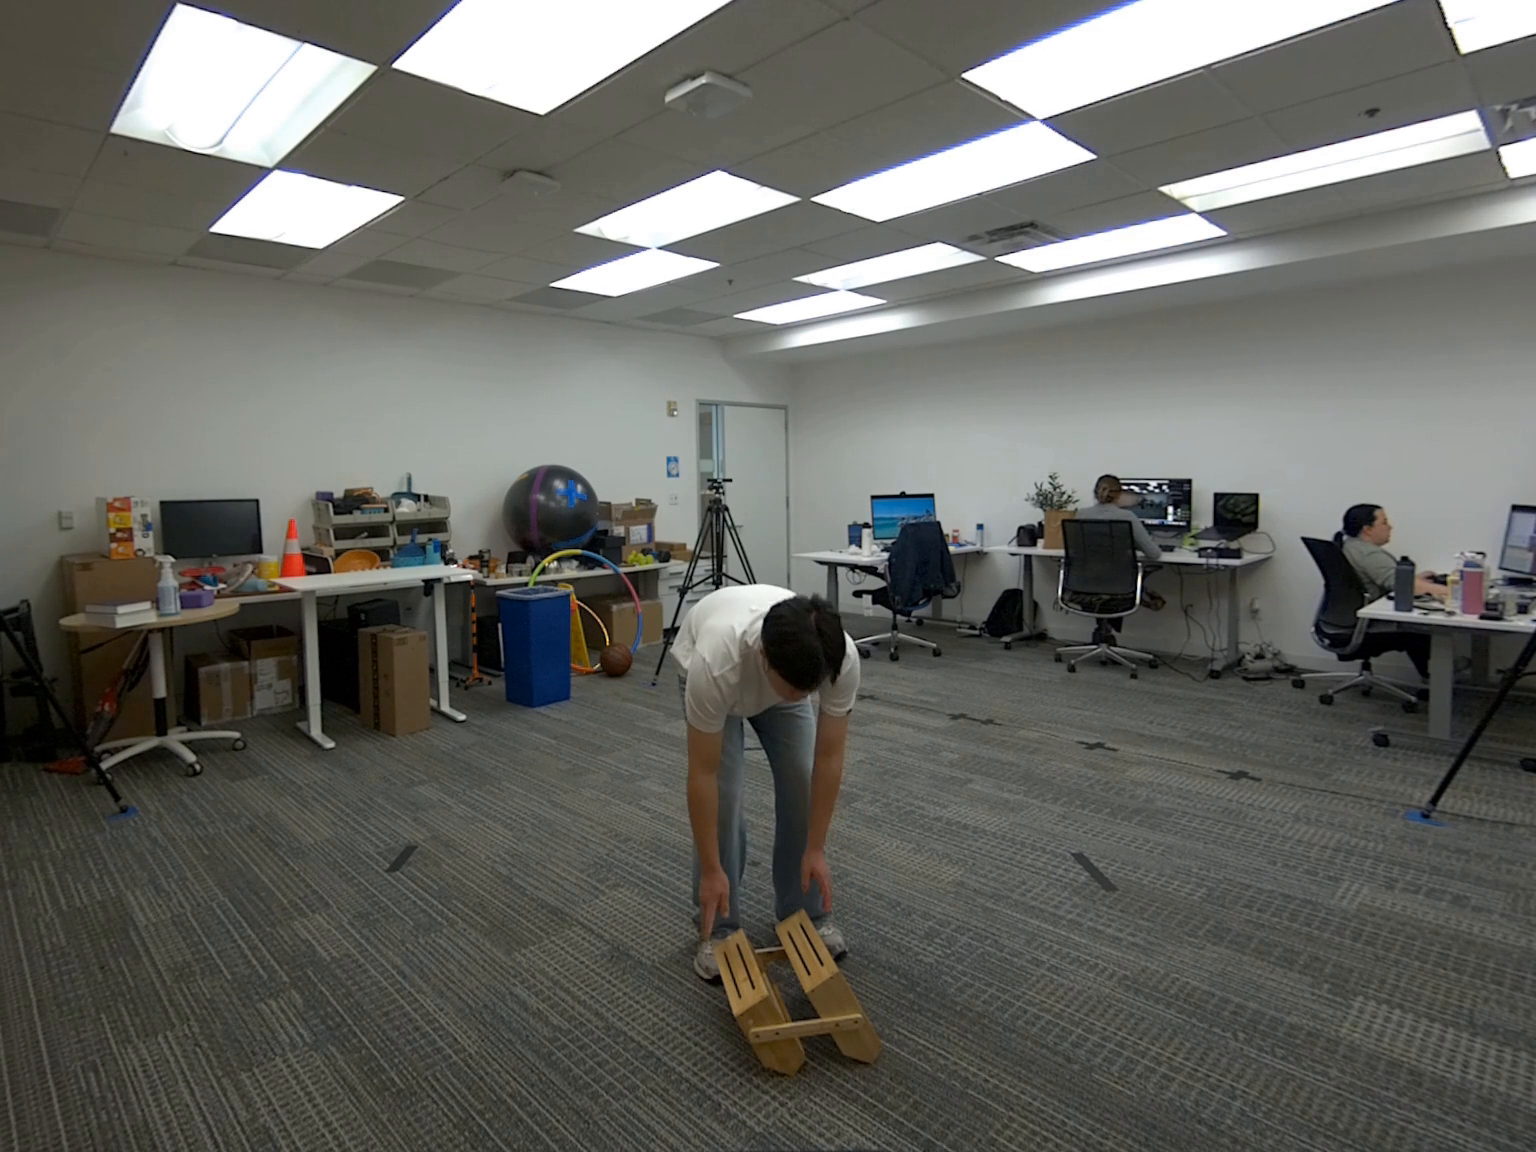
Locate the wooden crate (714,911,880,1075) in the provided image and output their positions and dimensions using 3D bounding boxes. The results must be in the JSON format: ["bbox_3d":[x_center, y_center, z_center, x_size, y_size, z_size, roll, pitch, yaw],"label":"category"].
[{"bbox_3d":[0.072,1.069,2.146,0.272,0.299,0.329,-30,10,-9],"label":"wooden crate"}]
